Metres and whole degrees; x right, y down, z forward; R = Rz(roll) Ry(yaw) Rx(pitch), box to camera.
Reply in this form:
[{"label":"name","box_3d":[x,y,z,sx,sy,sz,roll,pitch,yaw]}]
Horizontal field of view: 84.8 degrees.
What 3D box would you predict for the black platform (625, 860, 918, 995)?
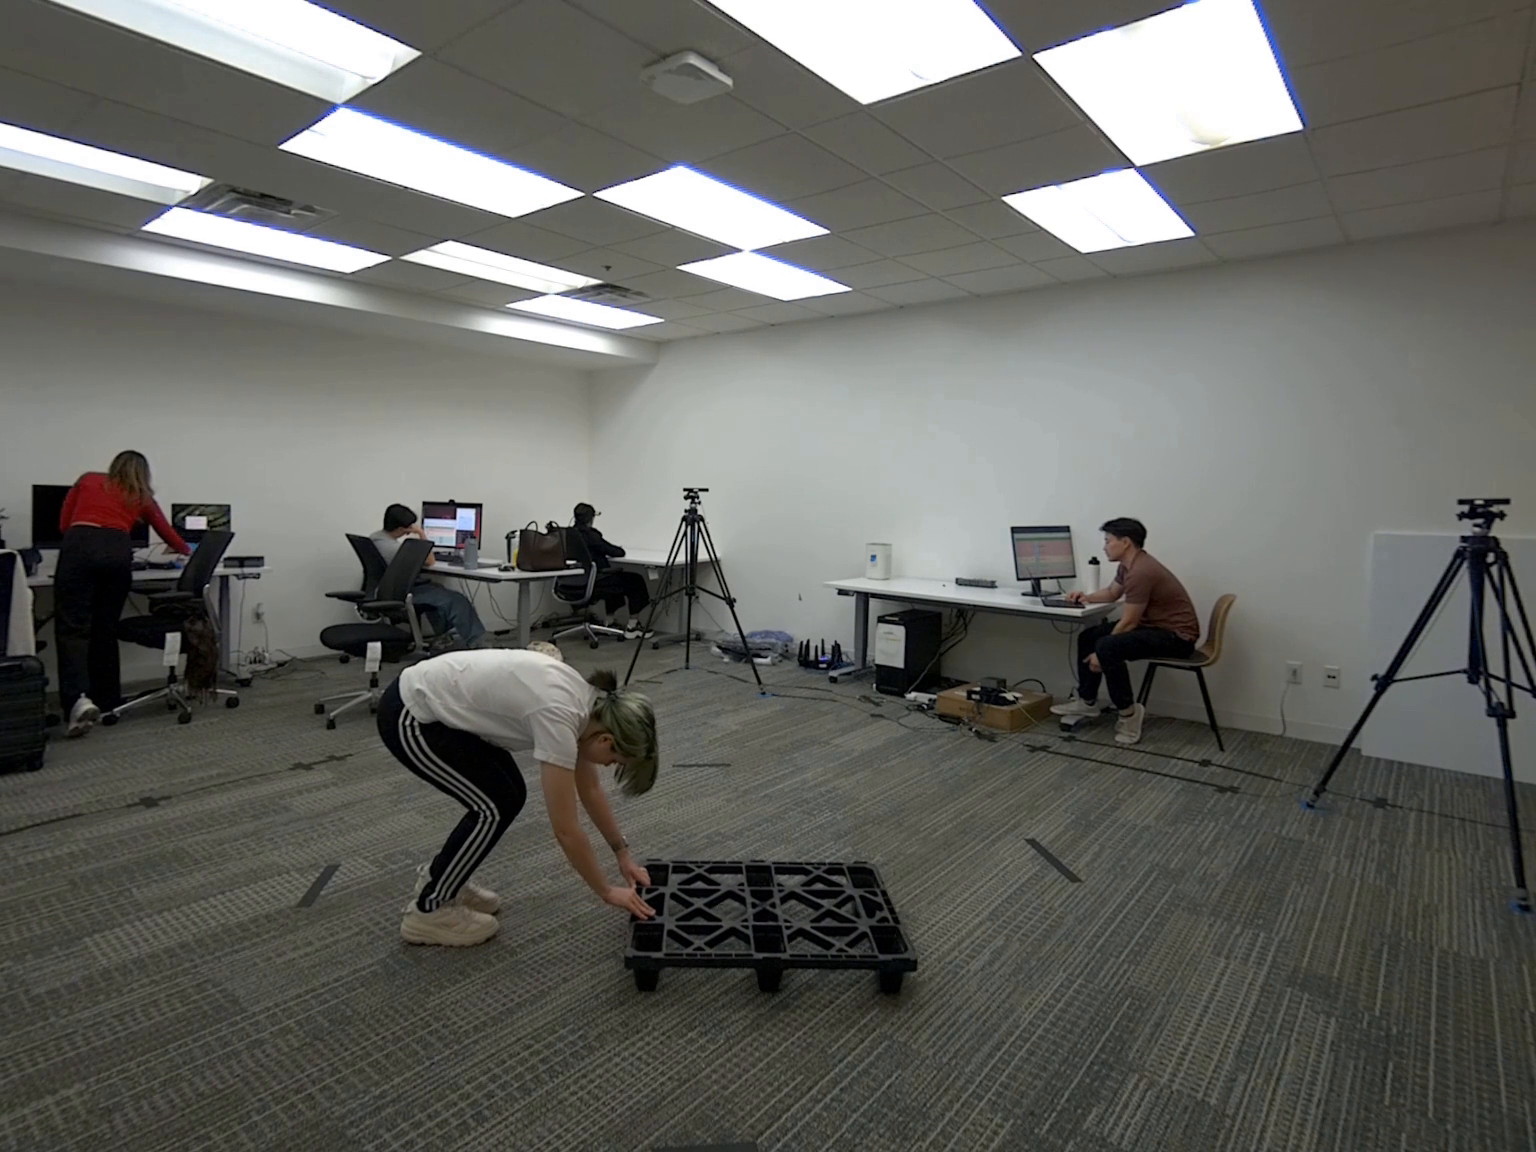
[{"label":"black platform","box_3d":[-0.024,1.056,2.580,0.804,0.142,0.609,1,6,-2]}]
